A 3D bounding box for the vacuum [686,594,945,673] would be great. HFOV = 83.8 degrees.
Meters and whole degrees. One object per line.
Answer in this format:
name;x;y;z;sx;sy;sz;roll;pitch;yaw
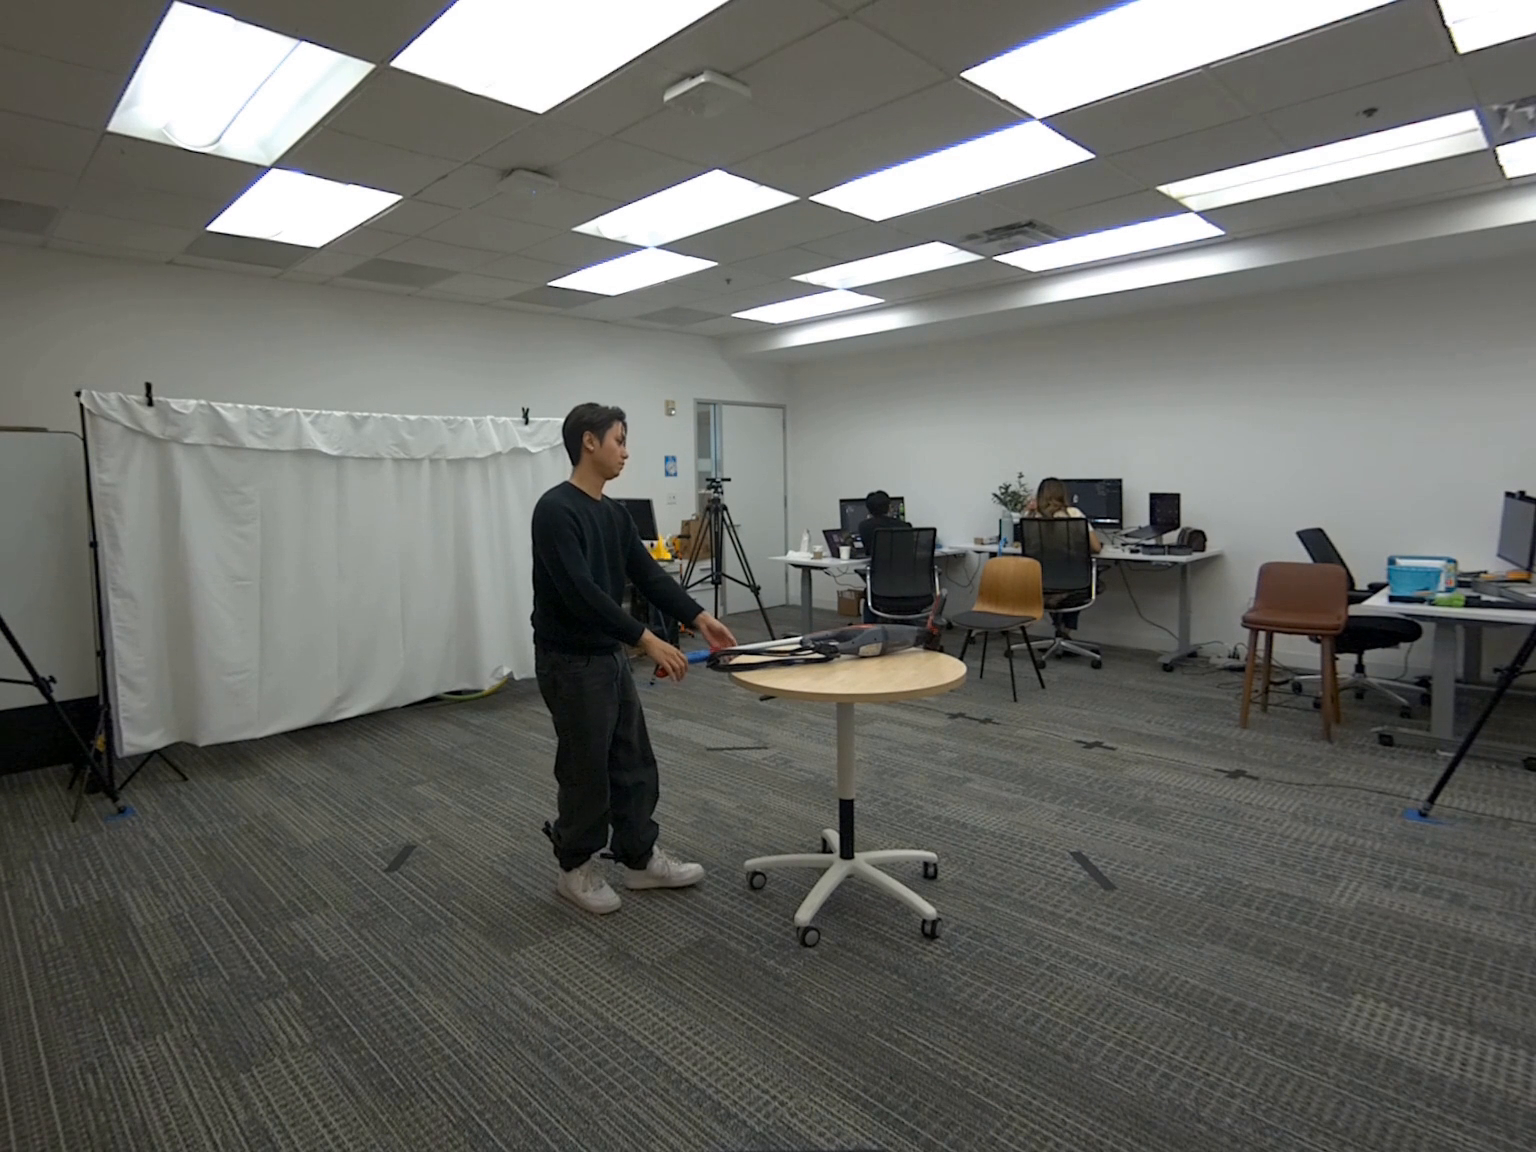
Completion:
vacuum;0.146;0.245;2.841;1.030;0.247;0.150;-8;35;-24
